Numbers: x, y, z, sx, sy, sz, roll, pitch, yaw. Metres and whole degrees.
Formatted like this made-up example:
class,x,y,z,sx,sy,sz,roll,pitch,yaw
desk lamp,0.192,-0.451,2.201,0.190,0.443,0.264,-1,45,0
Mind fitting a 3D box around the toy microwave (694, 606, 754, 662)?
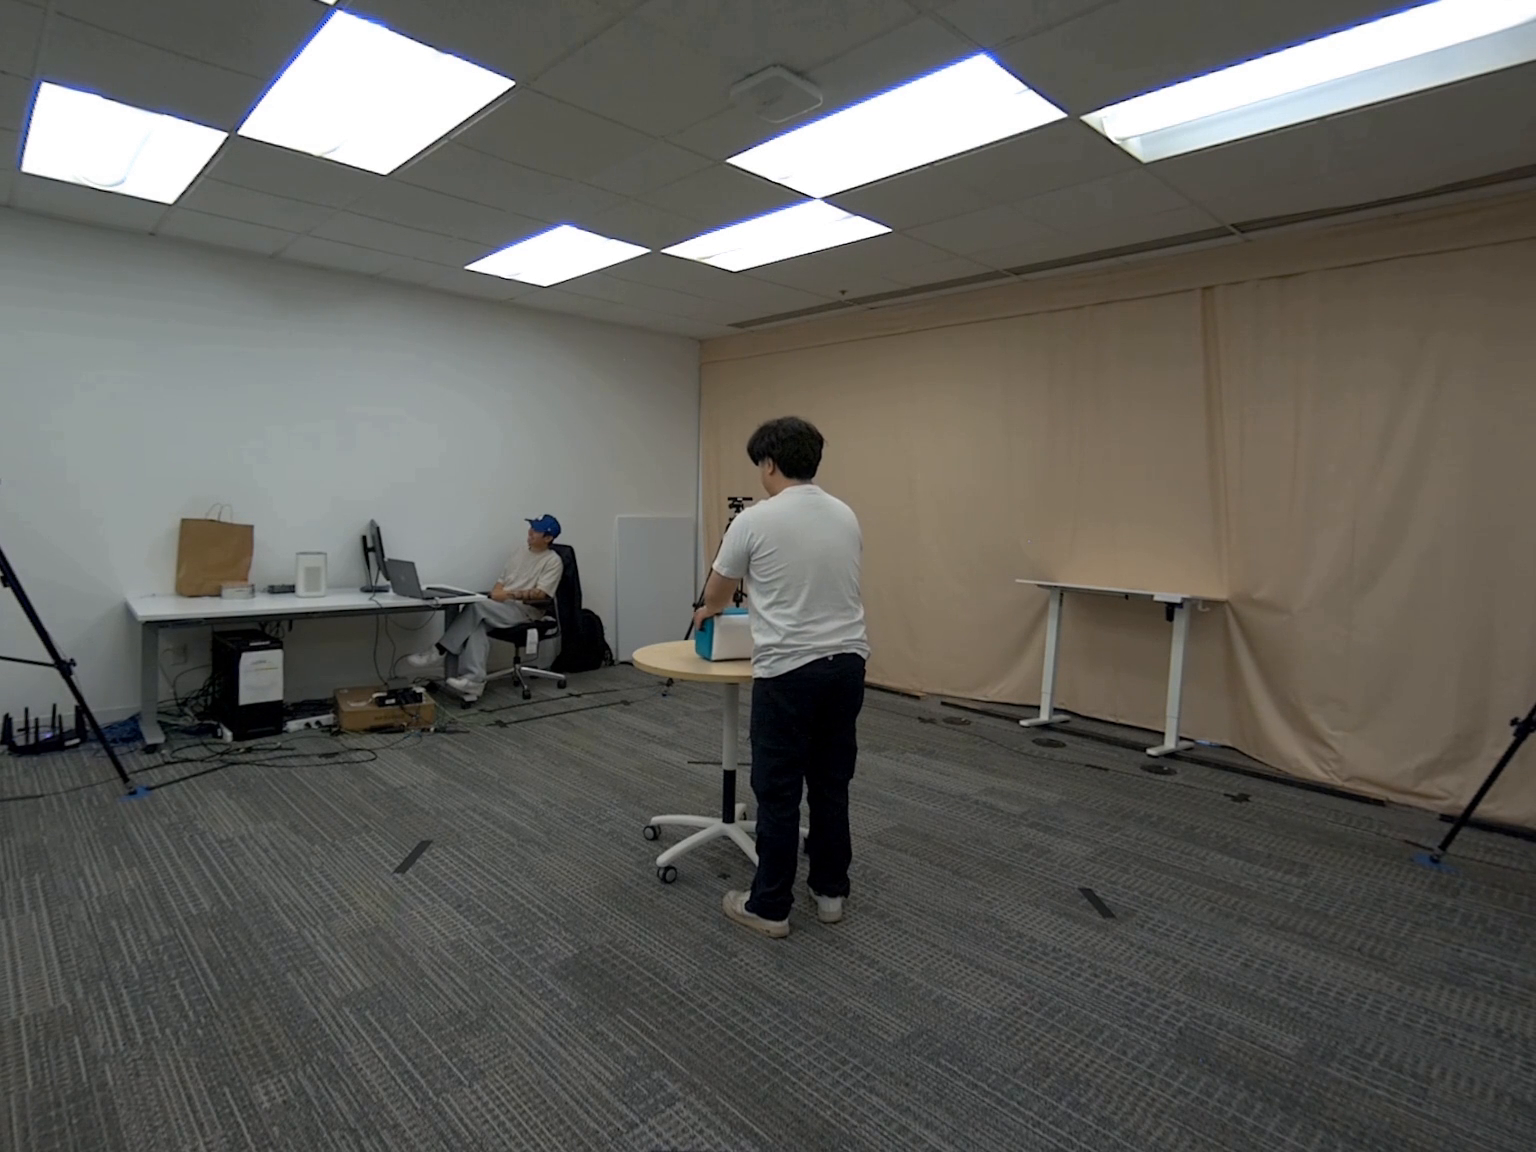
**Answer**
class,x,y,z,sx,sy,sz,roll,pitch,yaw
toy microwave,-0.125,0.219,3.170,0.281,0.184,0.155,0,4,-26
